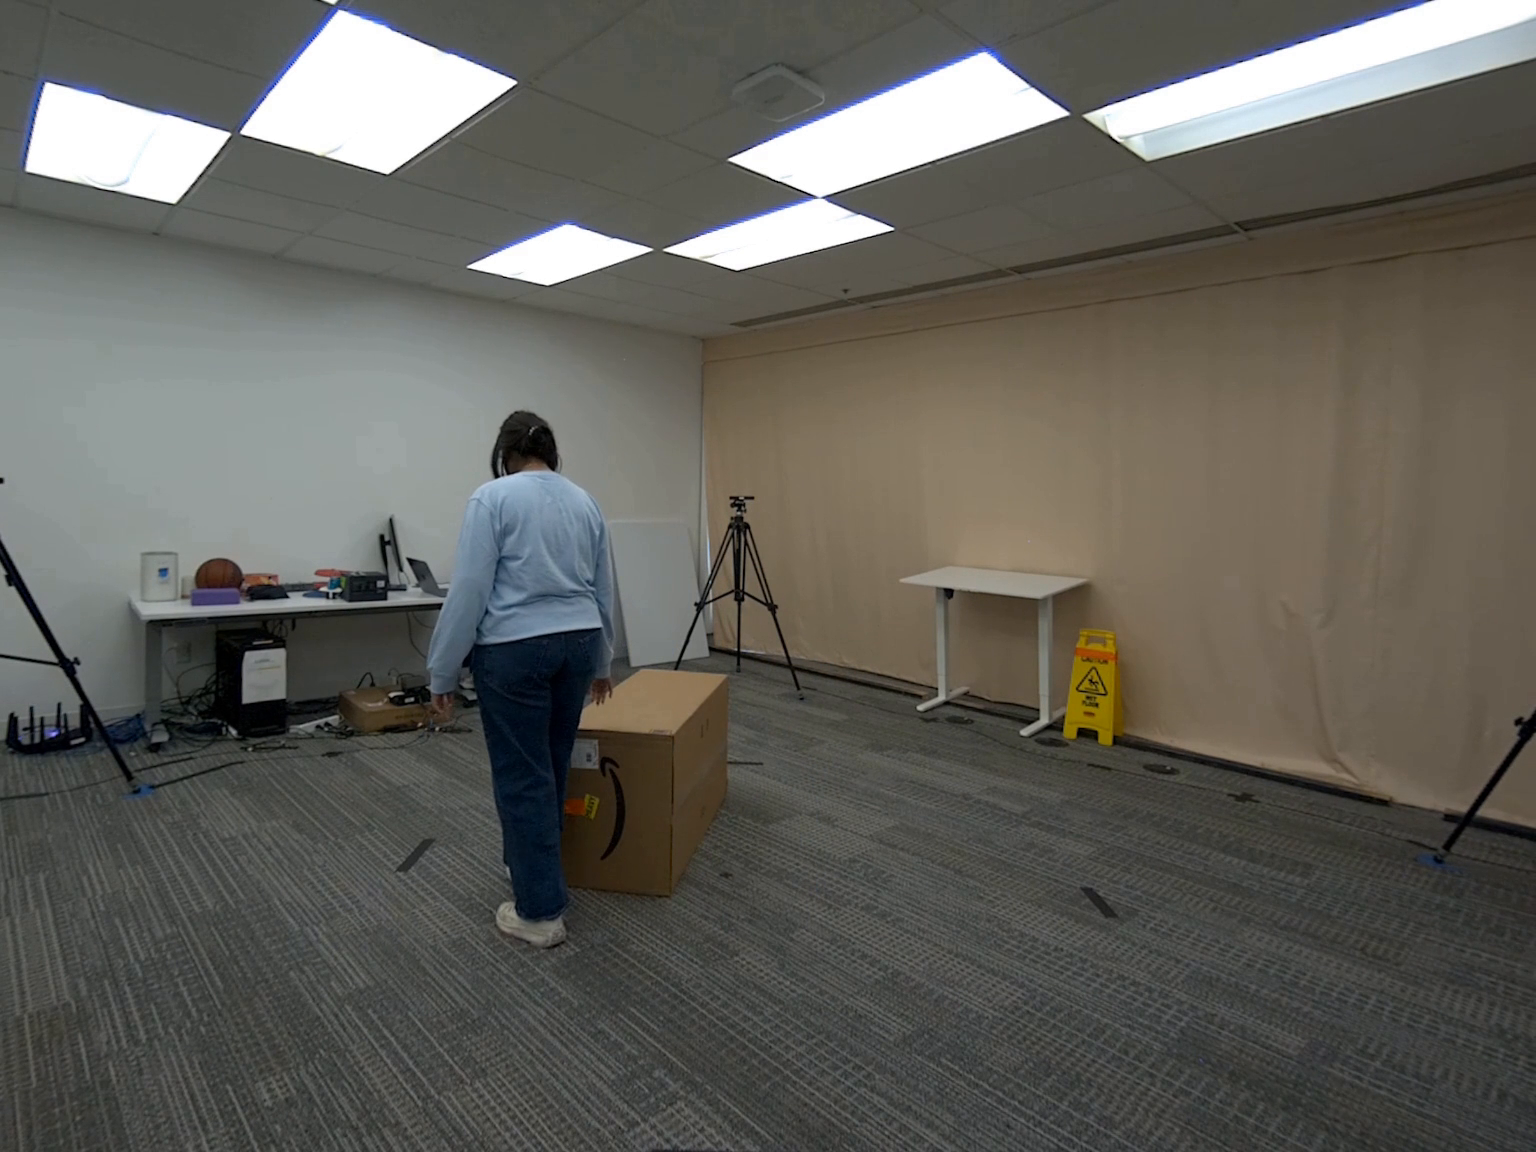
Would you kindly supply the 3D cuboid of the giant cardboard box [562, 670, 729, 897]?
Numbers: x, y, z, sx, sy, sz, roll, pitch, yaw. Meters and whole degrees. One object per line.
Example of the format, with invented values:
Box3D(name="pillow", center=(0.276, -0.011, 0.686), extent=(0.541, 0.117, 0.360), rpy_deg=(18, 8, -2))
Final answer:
Box3D(name="giant cardboard box", center=(-0.473, 0.774, 3.445), extent=(0.429, 0.576, 1.021), rpy_deg=(2, 5, 8))
